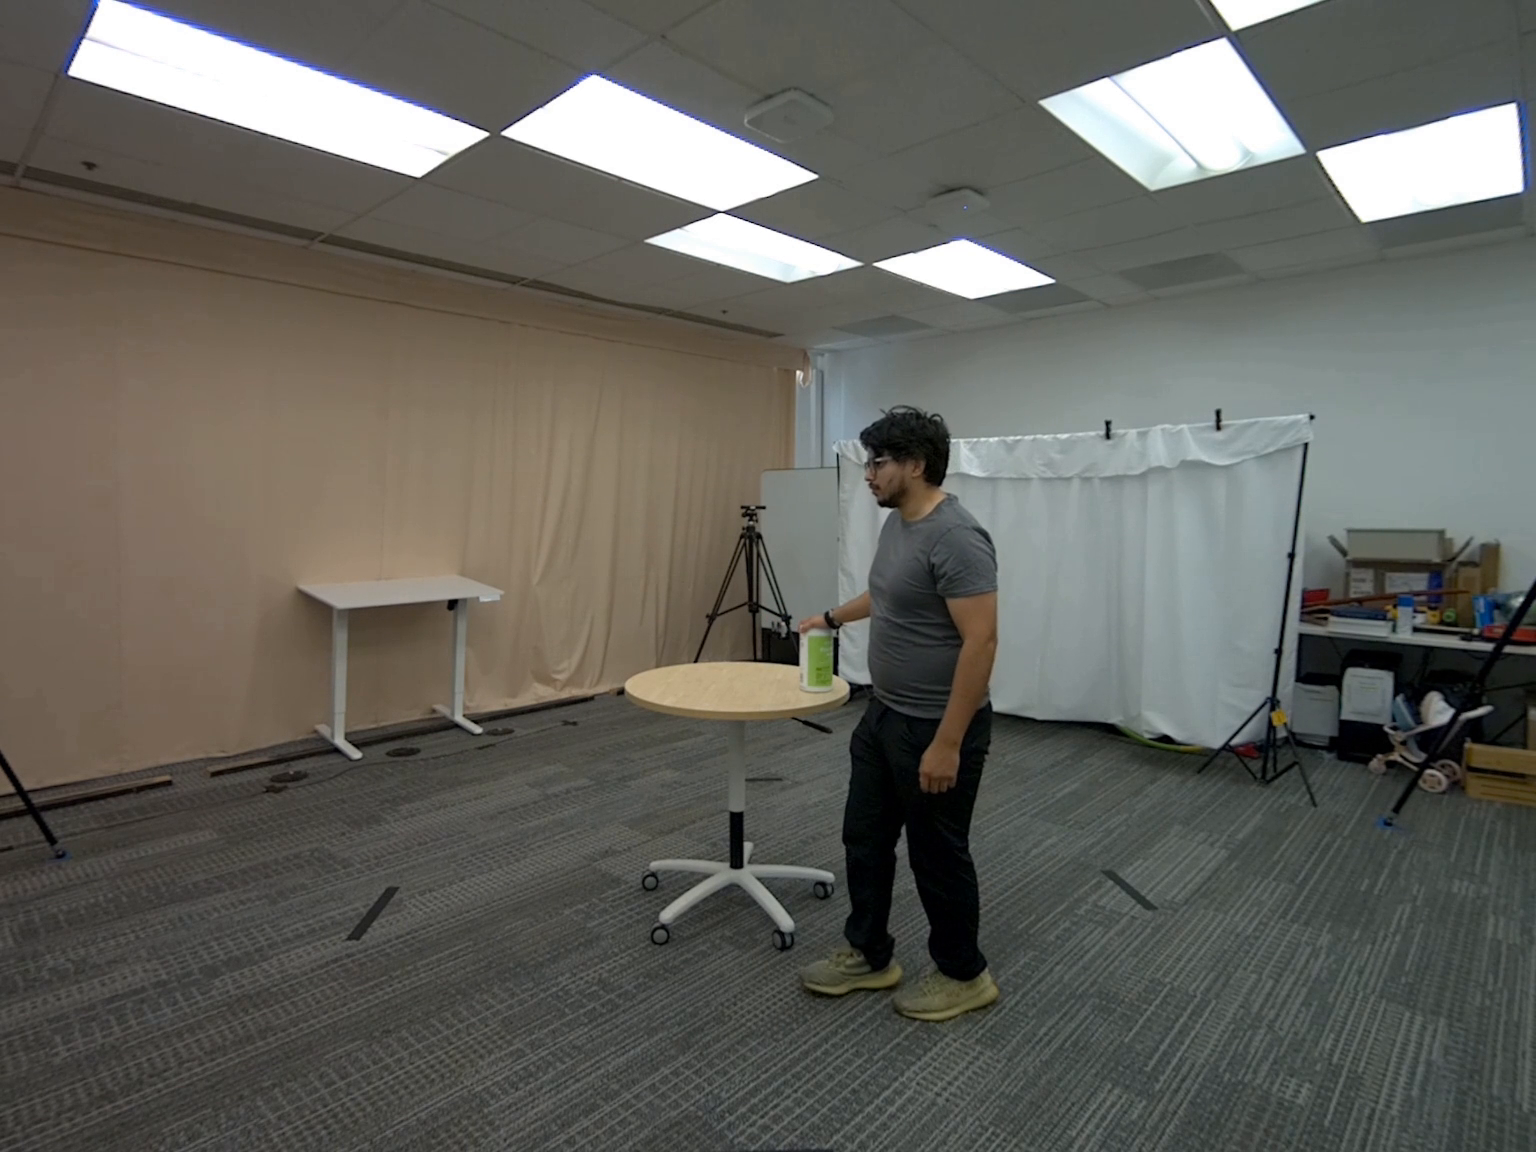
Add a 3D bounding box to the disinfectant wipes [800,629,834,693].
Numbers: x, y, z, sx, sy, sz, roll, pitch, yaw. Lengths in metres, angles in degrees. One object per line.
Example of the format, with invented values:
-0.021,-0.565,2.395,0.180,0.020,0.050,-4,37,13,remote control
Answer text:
0.165,0.273,2.792,0.117,0.217,0.118,3,4,-2,disinfectant wipes
